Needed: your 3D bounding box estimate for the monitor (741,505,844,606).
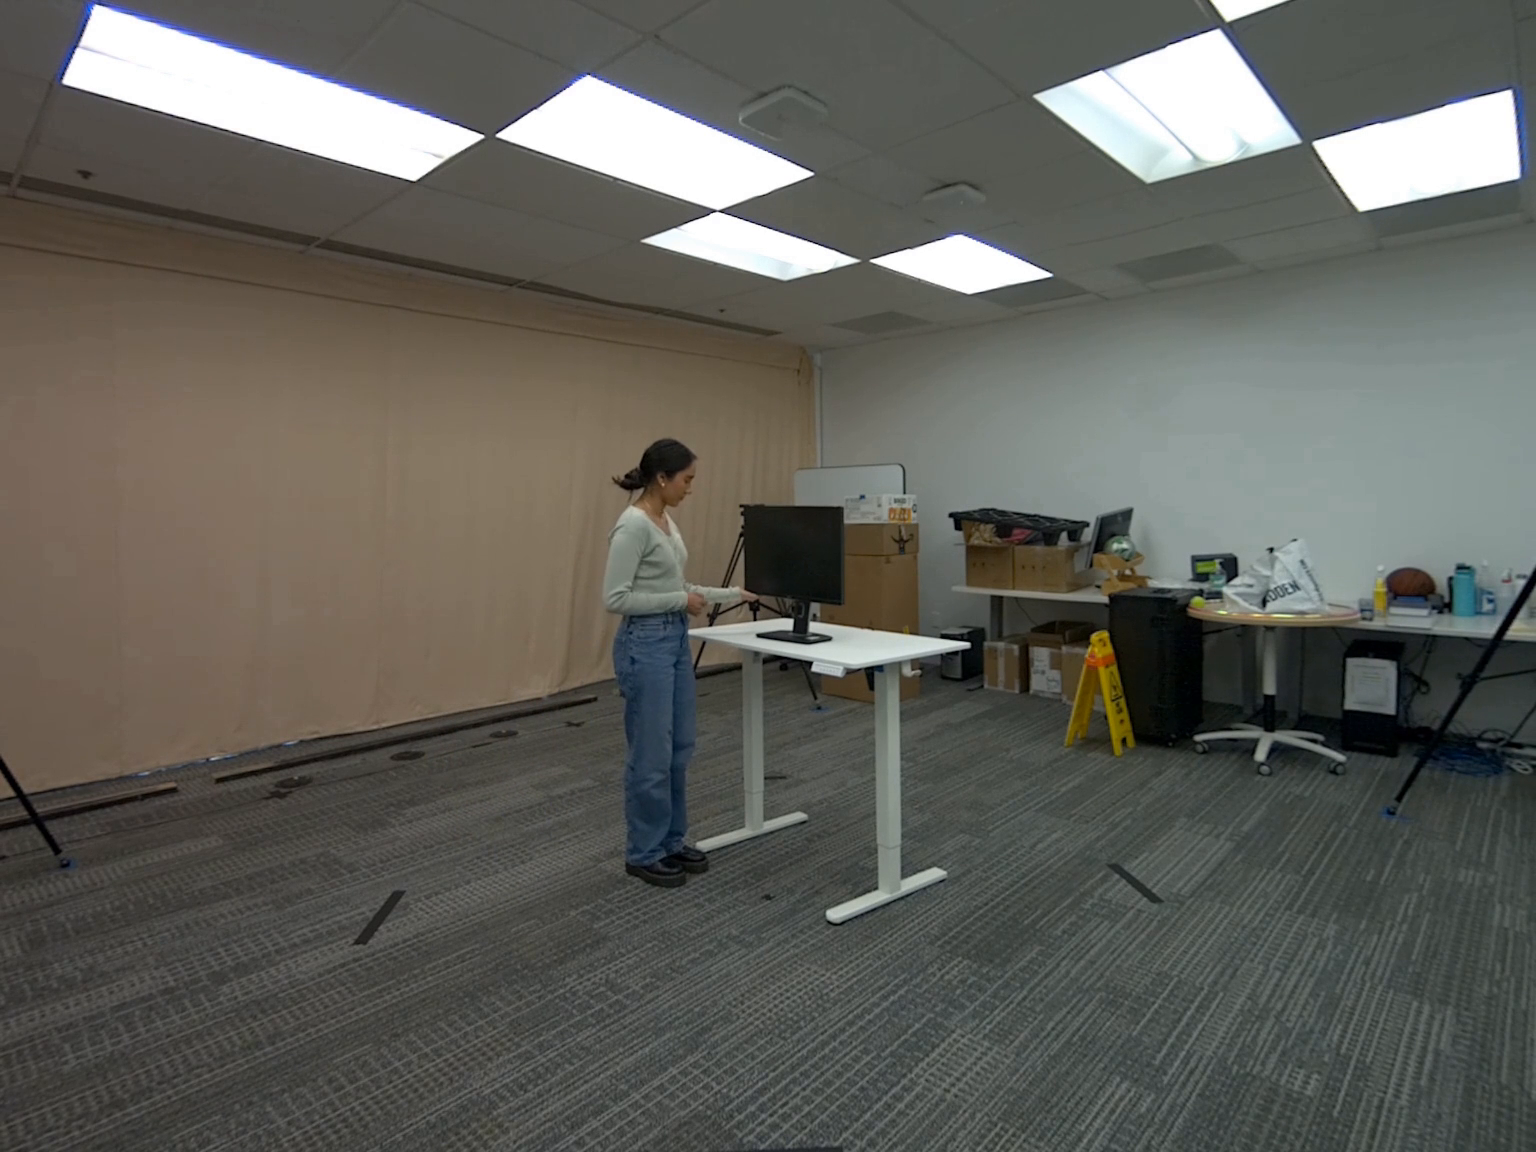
[{"bbox_3d":[0.109,-0.006,3.185,0.182,0.520,0.557,-10,10,-41],"label":"monitor"}]
